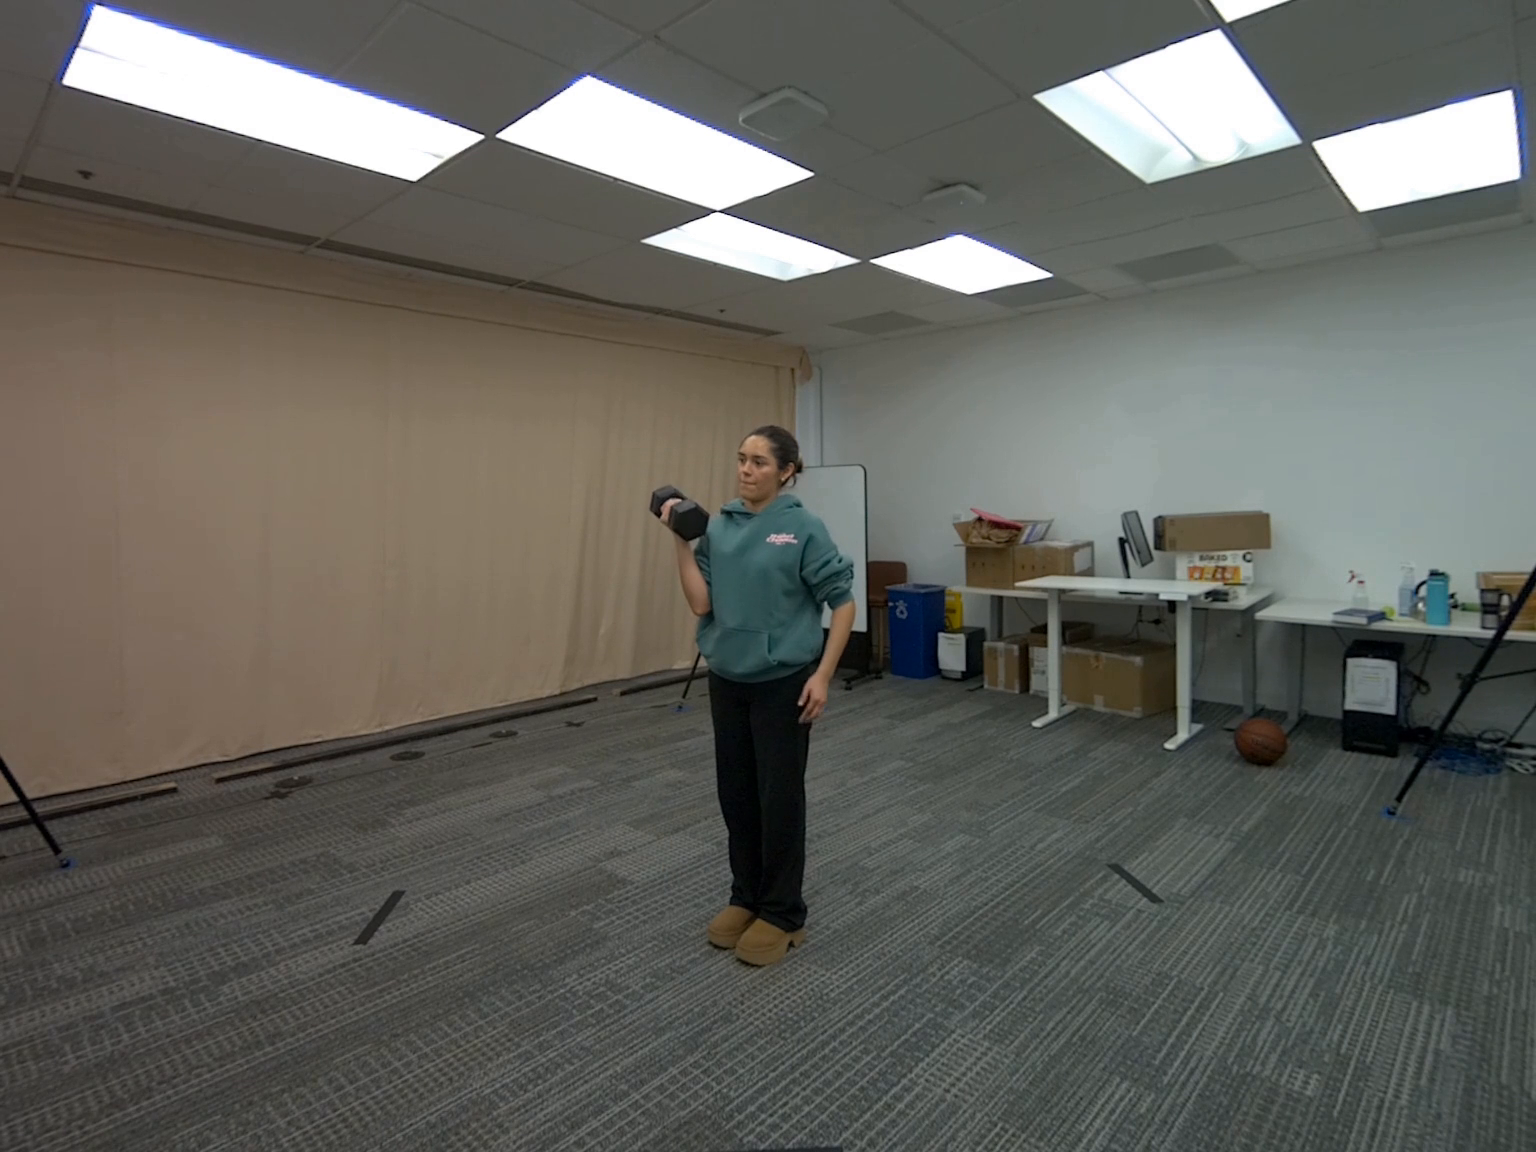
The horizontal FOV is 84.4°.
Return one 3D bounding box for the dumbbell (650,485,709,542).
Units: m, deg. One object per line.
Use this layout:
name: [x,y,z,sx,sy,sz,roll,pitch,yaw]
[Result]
dumbbell: [-0.271,-0.198,2.604,0.119,0.109,0.302,42,0,-27]
